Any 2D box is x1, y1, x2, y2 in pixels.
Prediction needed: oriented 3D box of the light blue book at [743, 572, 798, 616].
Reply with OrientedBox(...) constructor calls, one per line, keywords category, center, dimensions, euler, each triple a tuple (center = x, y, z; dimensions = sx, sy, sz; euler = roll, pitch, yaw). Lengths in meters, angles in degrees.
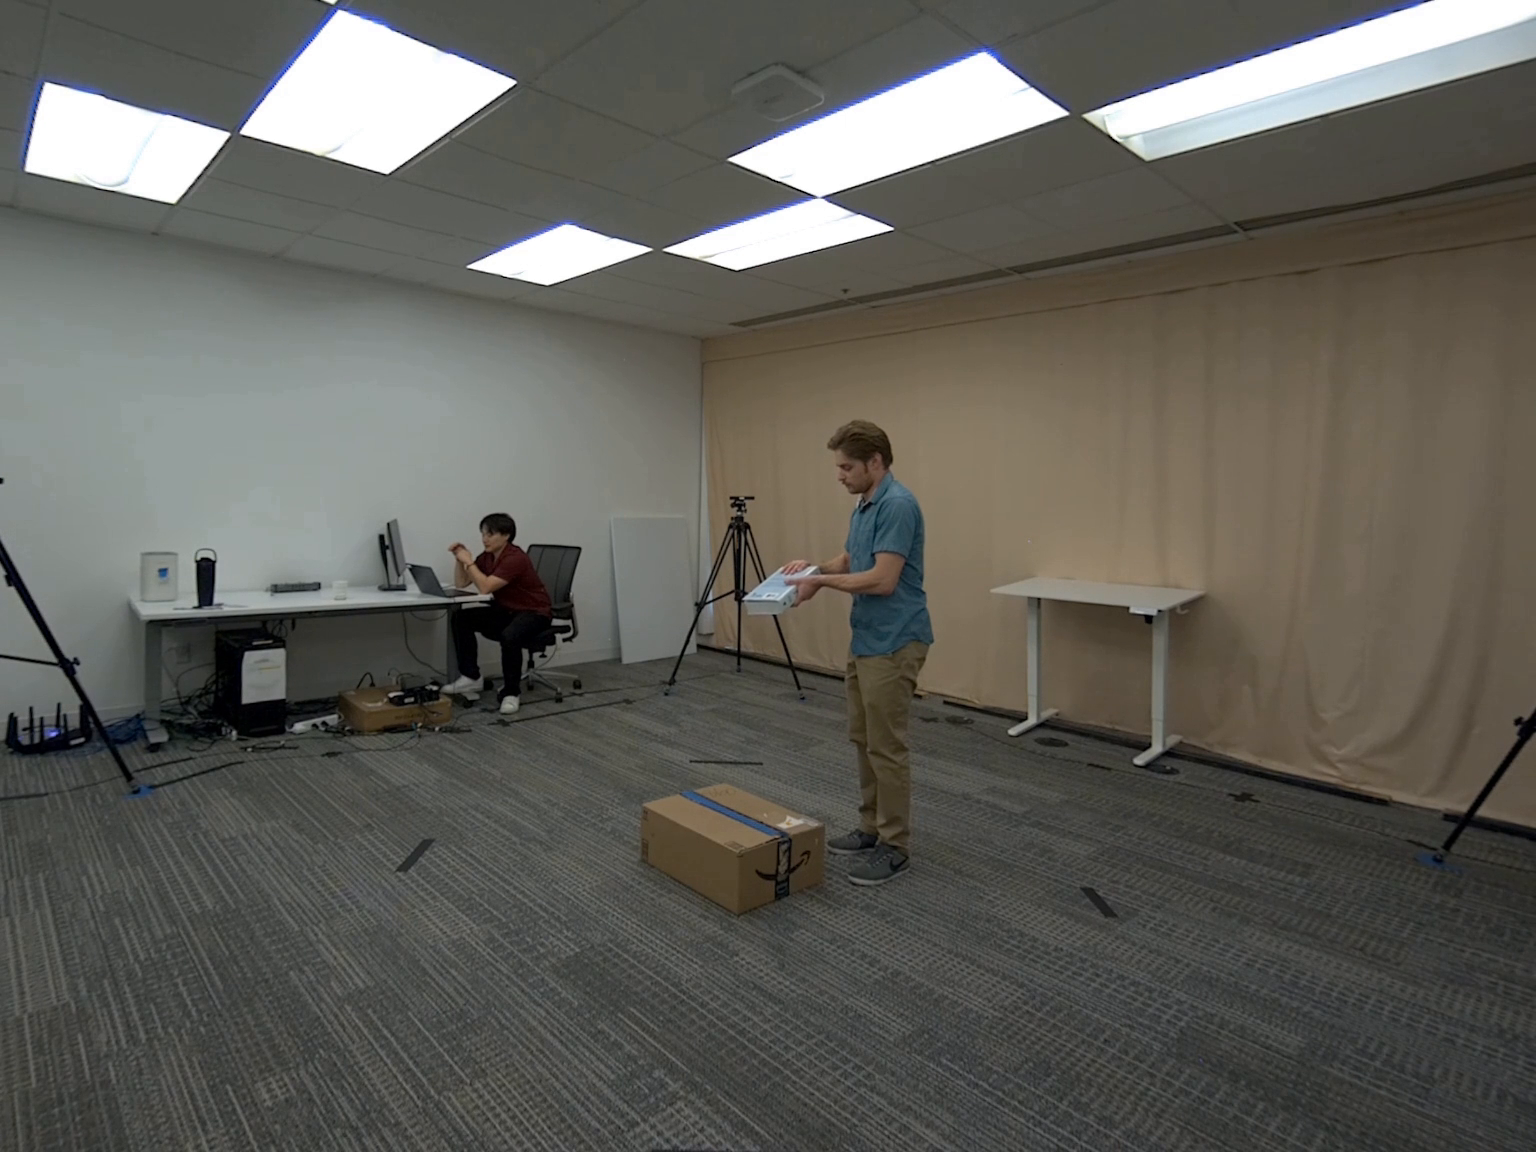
OrientedBox(category="light blue book", center=(0.065, 0.055, 3.217), dimensions=(0.196, 0.058, 0.259), euler=(-2, 28, 47))
